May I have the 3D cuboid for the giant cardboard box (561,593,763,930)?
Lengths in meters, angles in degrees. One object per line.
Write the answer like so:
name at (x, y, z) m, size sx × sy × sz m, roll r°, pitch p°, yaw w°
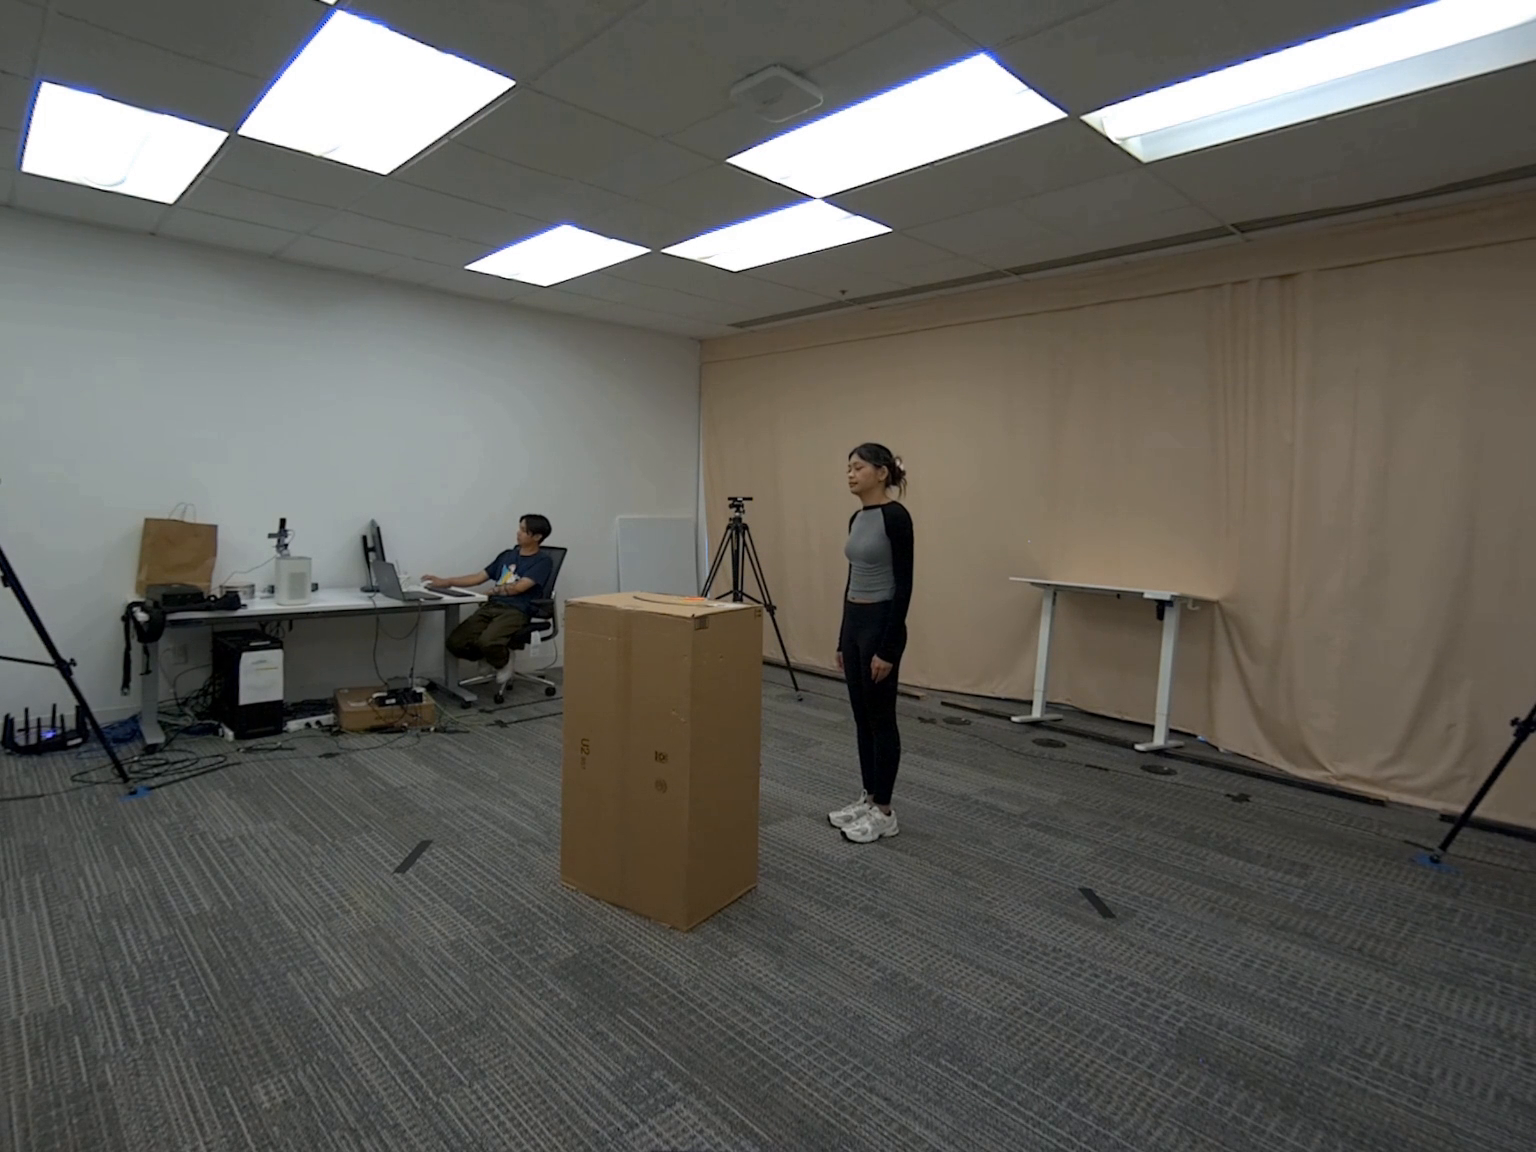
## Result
giant cardboard box at (-0.383, 0.602, 3.000) m, size 0.591 × 1.023 × 0.417 m, roll 4°, pitch 4°, yaw 34°
